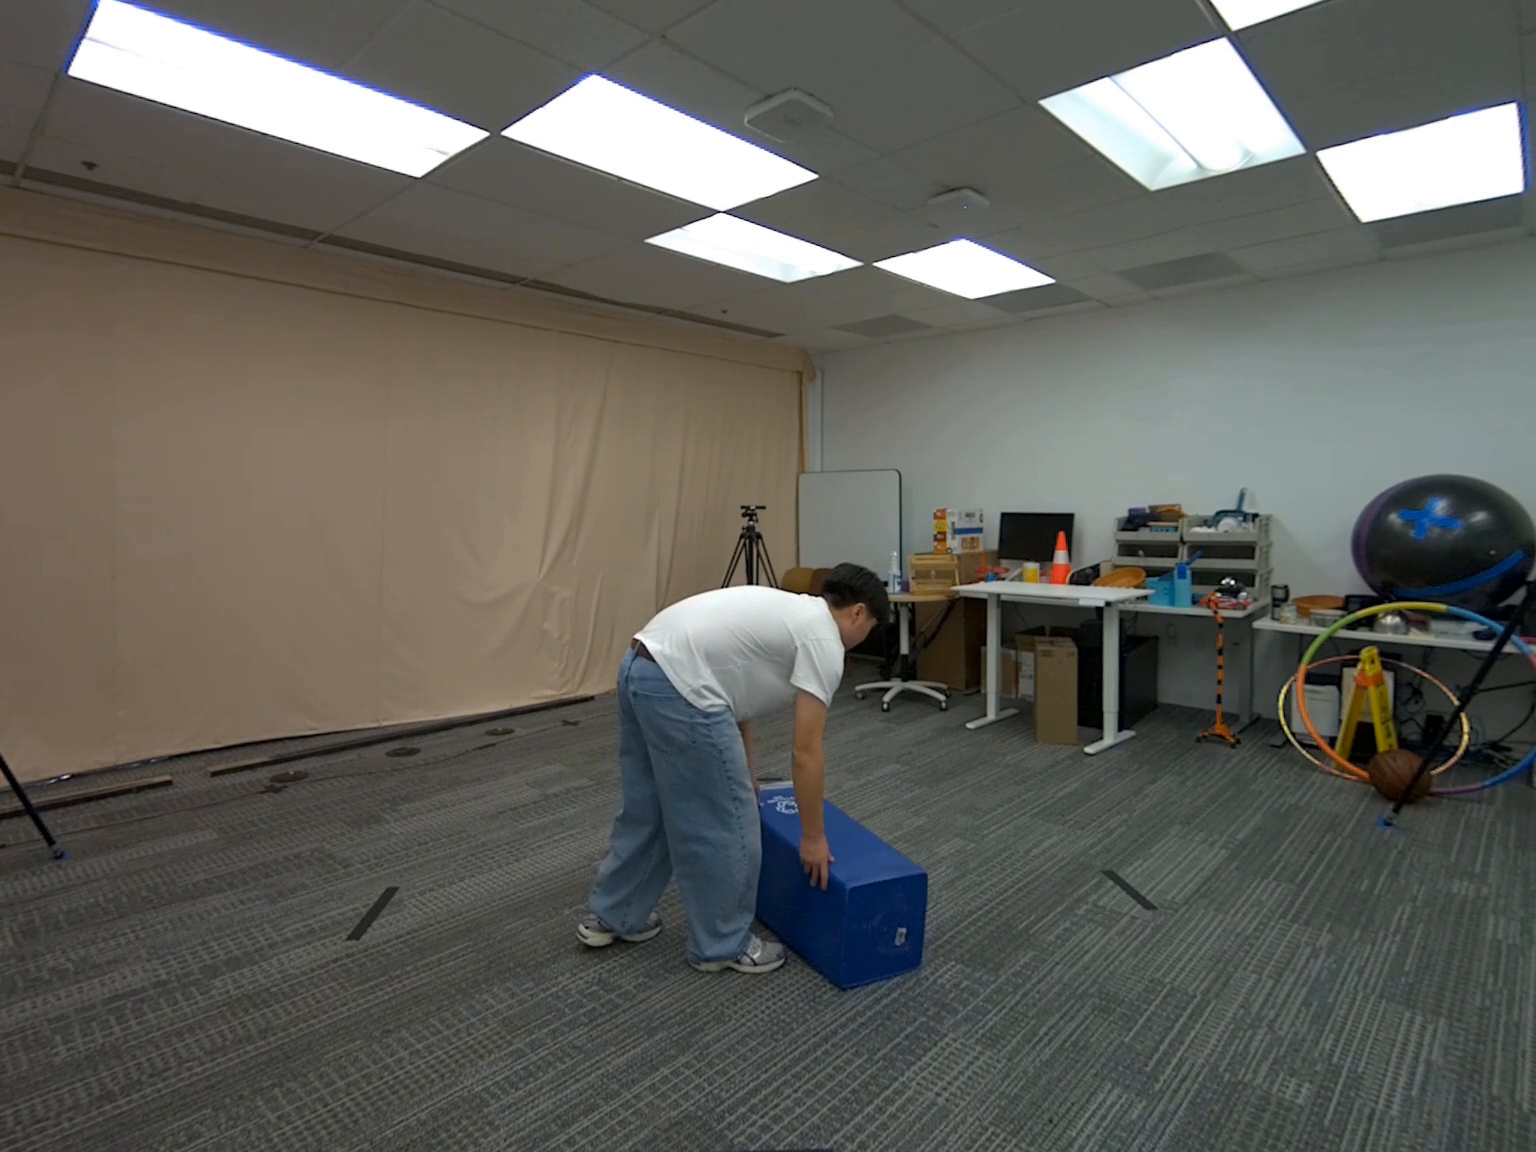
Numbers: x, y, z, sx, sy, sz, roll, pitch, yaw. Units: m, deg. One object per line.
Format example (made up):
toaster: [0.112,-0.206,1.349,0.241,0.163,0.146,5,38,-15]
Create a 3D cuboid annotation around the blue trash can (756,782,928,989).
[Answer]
blue trash can: [0.181,0.990,2.776,0.364,0.377,0.735,1,7,-30]
